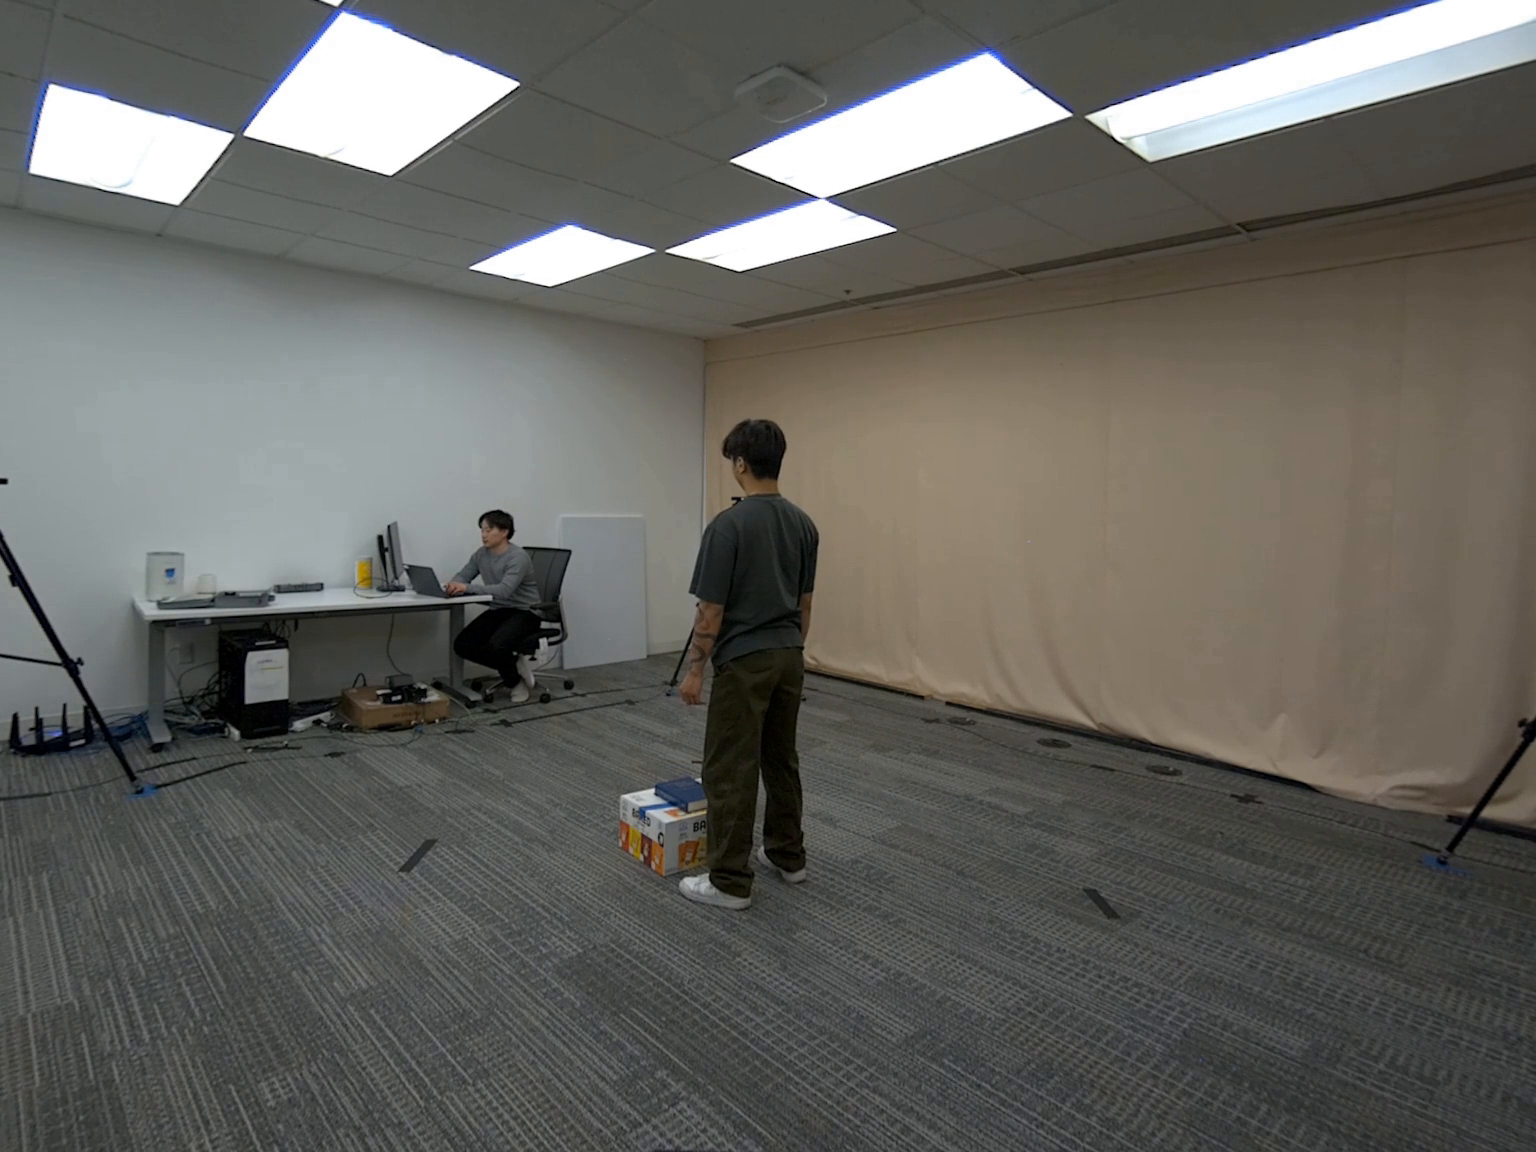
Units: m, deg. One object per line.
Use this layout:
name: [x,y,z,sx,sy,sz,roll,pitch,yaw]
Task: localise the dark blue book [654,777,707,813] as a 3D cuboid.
dark blue book: [-0.323,0.869,3.336,0.160,0.045,0.251,-3,7,-37]
